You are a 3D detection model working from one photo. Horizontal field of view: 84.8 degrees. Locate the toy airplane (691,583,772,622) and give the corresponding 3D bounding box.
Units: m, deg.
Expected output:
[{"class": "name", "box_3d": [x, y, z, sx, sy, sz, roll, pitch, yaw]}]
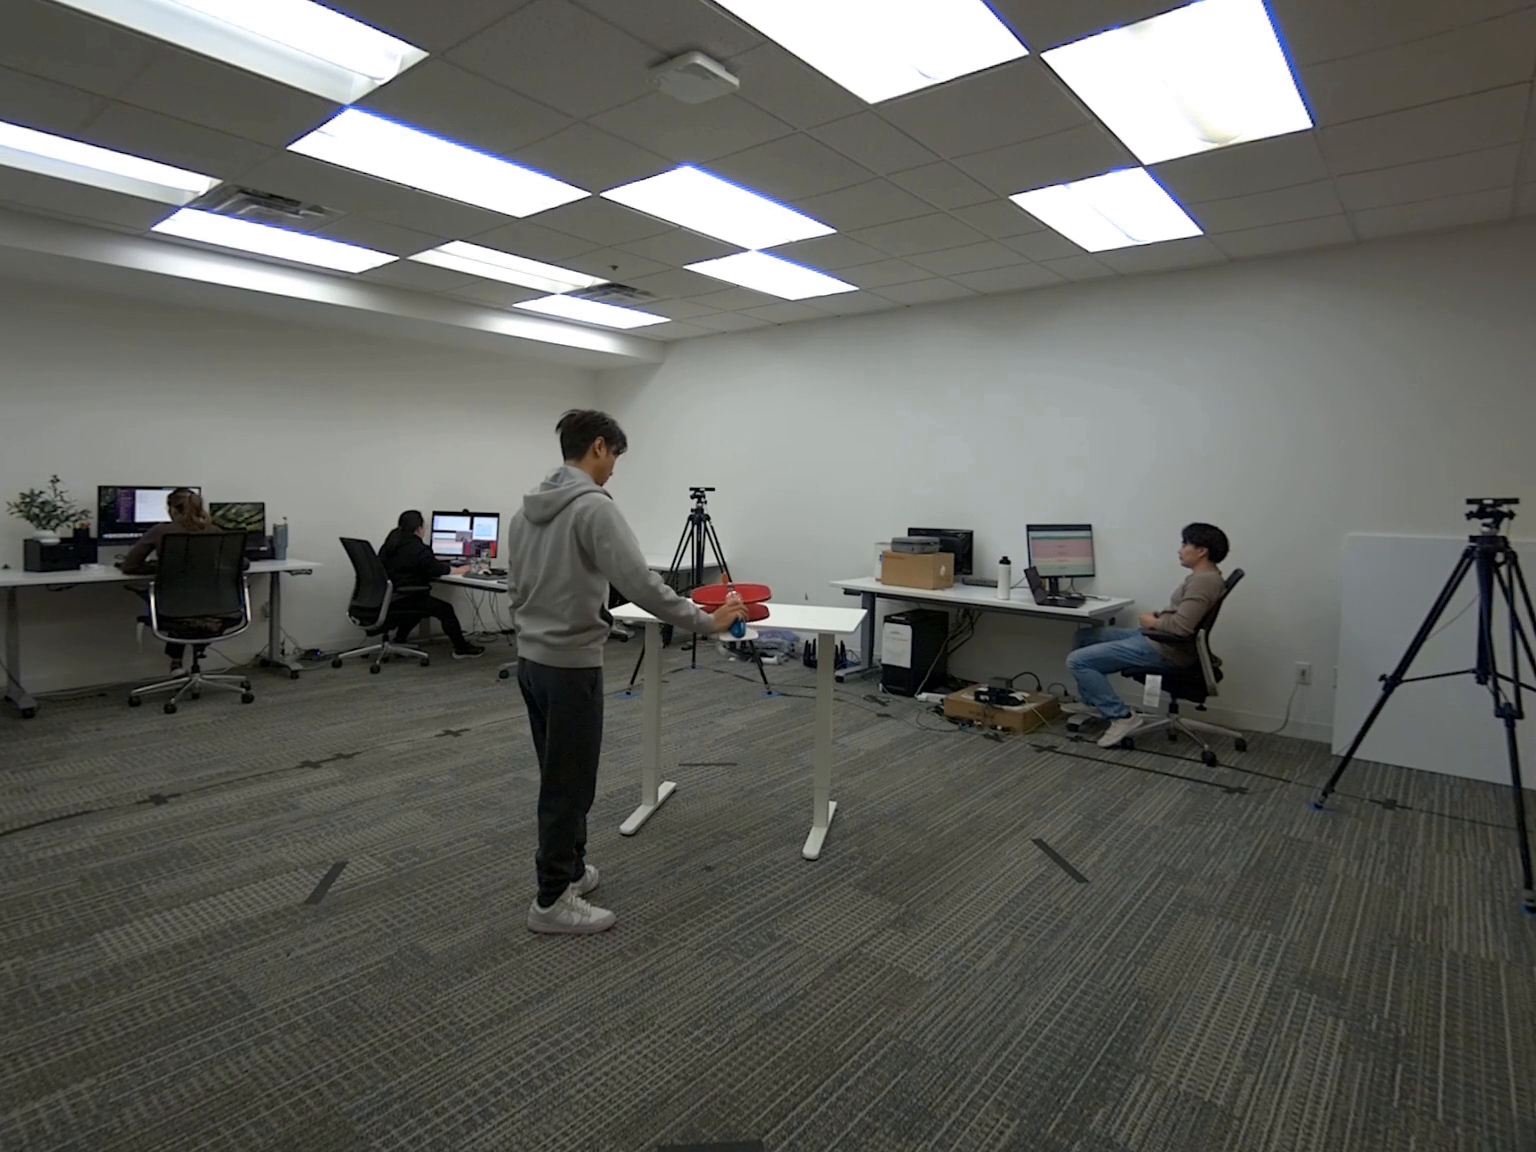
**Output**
[{"class": "toy airplane", "box_3d": [-0.100, 0.127, 2.705, 0.246, 0.153, 0.270, -17, 26, -35]}]
